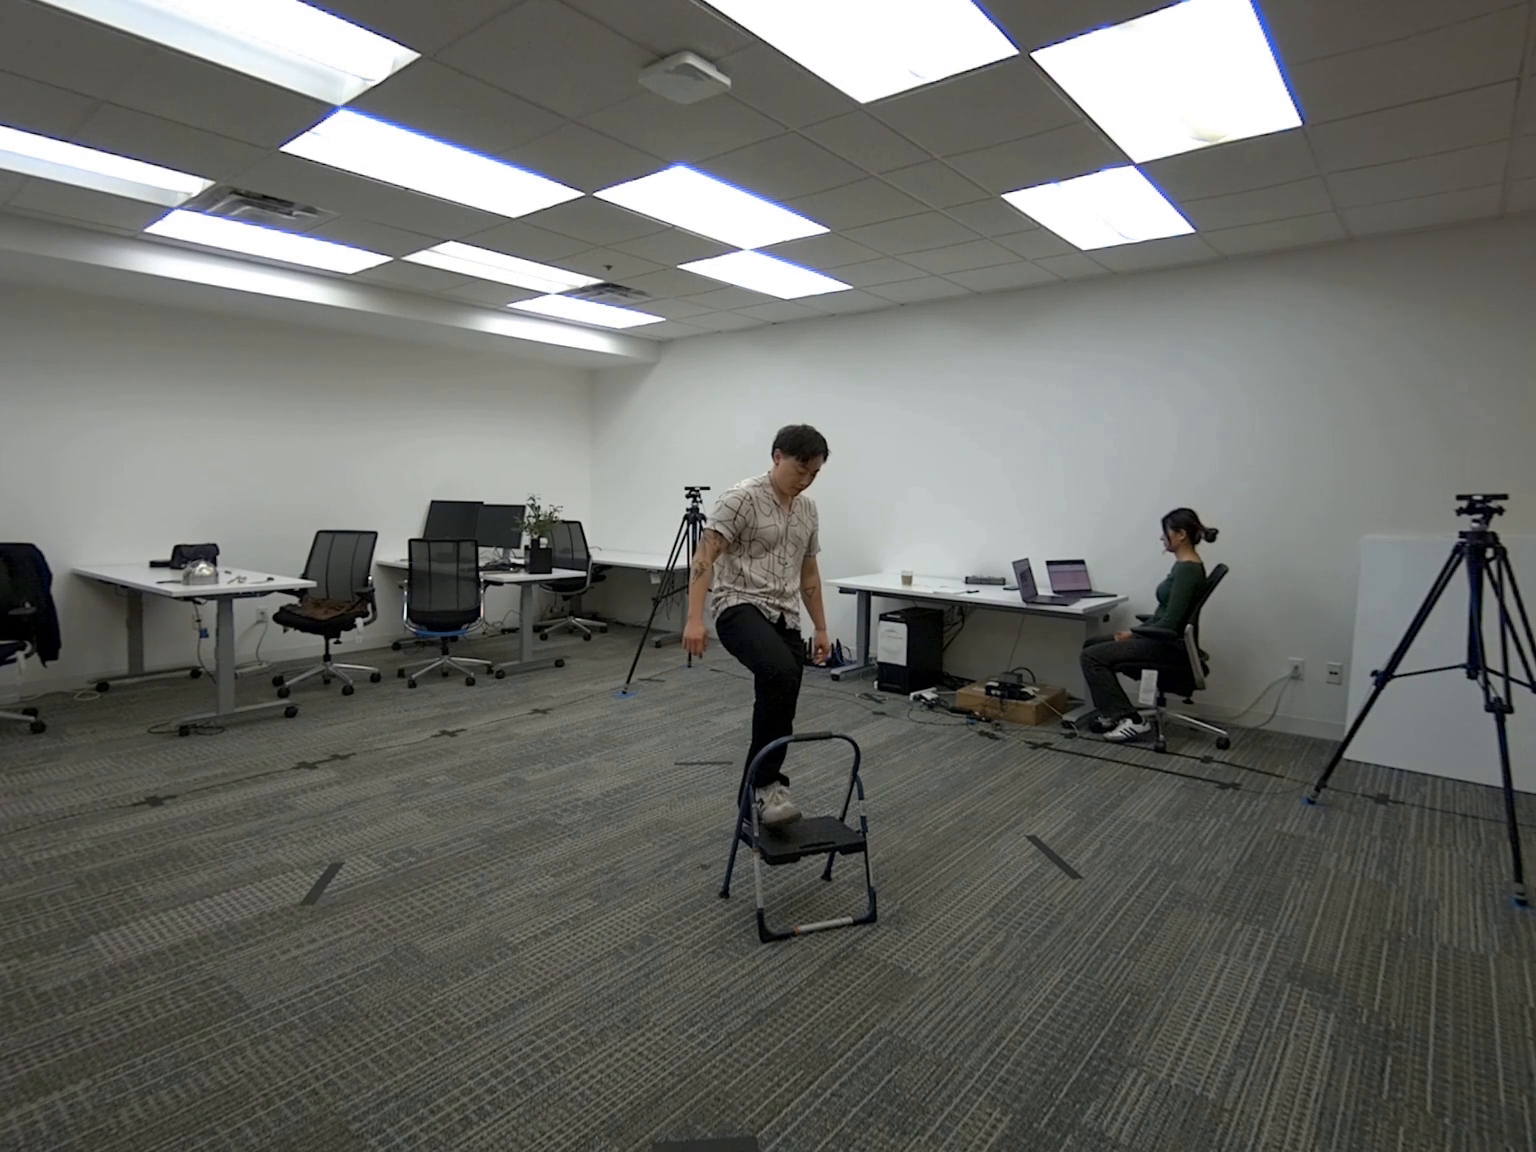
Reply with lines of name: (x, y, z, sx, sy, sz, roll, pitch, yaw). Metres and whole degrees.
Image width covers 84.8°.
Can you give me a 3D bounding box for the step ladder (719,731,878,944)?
step ladder: (0.095, 0.797, 2.810, 0.421, 0.604, 0.358, 0, 4, -24)
